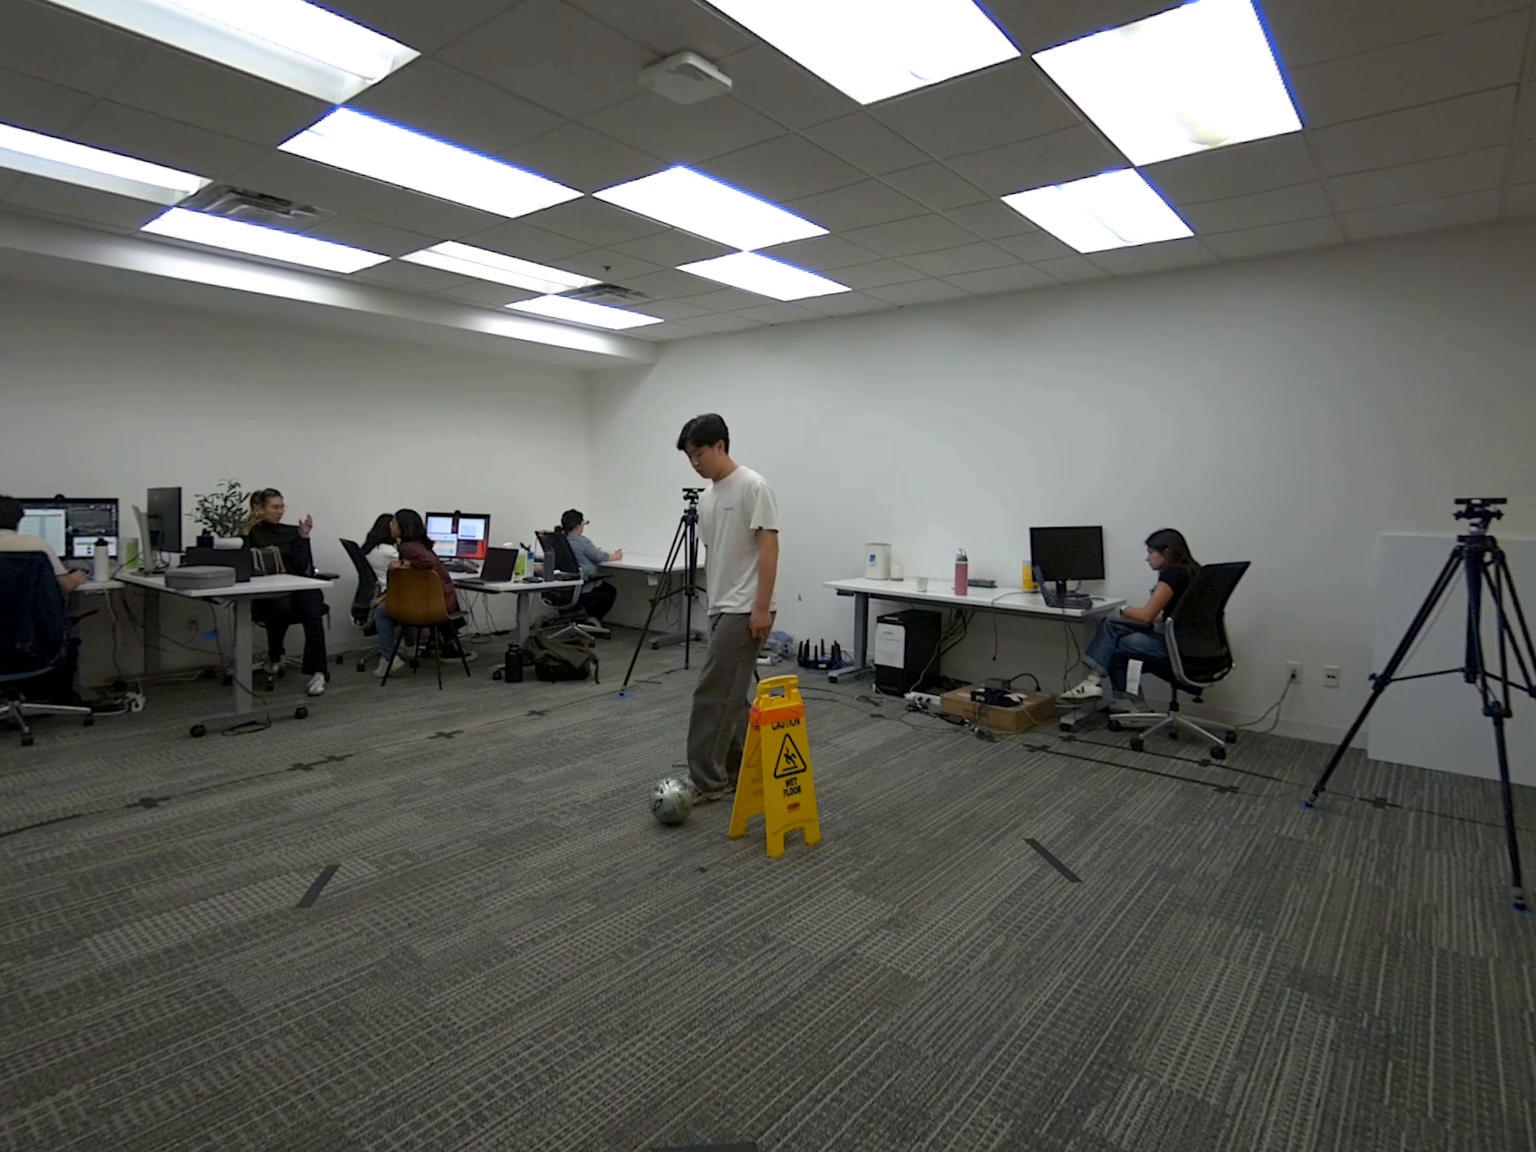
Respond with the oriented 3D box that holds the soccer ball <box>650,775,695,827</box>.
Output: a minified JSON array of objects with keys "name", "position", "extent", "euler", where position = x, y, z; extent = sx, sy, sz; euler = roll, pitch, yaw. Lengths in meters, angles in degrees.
[{"name":"soccer ball","position":[-0.398,0.929,3.540],"extent":[0.187,0.187,0.188],"euler":[1,4,-2]}]
